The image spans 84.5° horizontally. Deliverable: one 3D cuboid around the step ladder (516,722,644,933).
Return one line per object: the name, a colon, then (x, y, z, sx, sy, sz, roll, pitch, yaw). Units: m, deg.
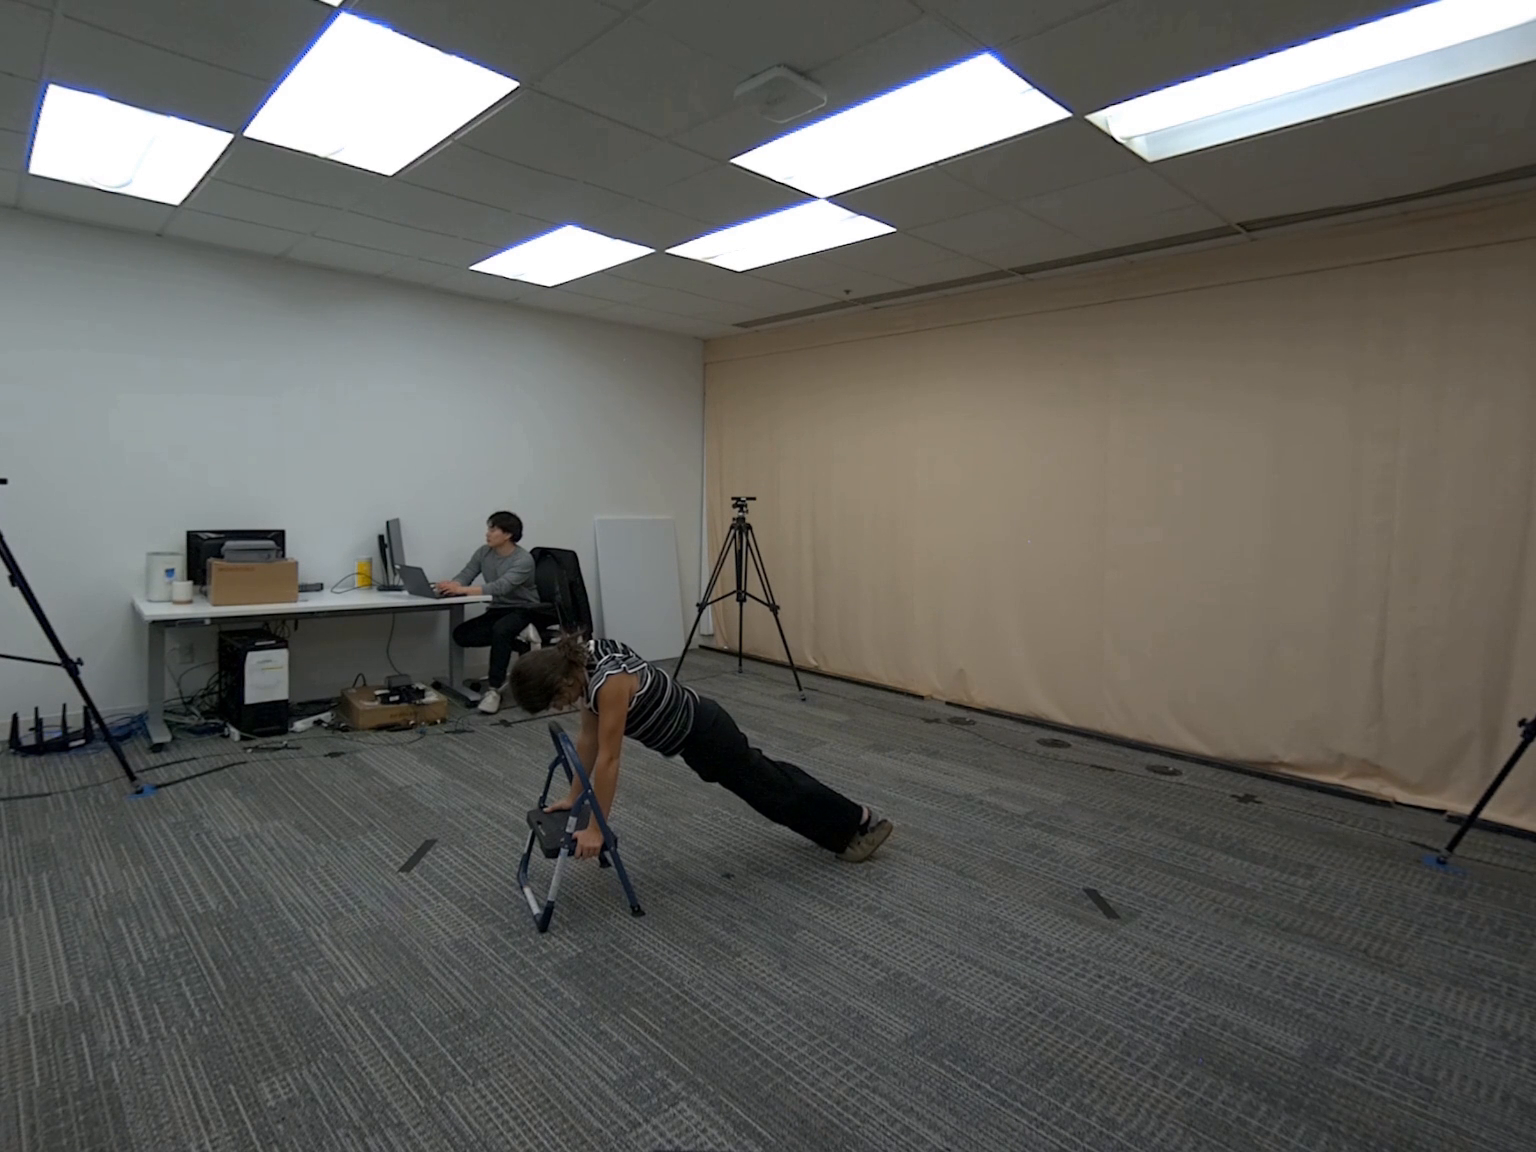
step ladder: (-0.663, 0.814, 2.900, 0.343, 0.604, 0.440, -1, 4, -27)
